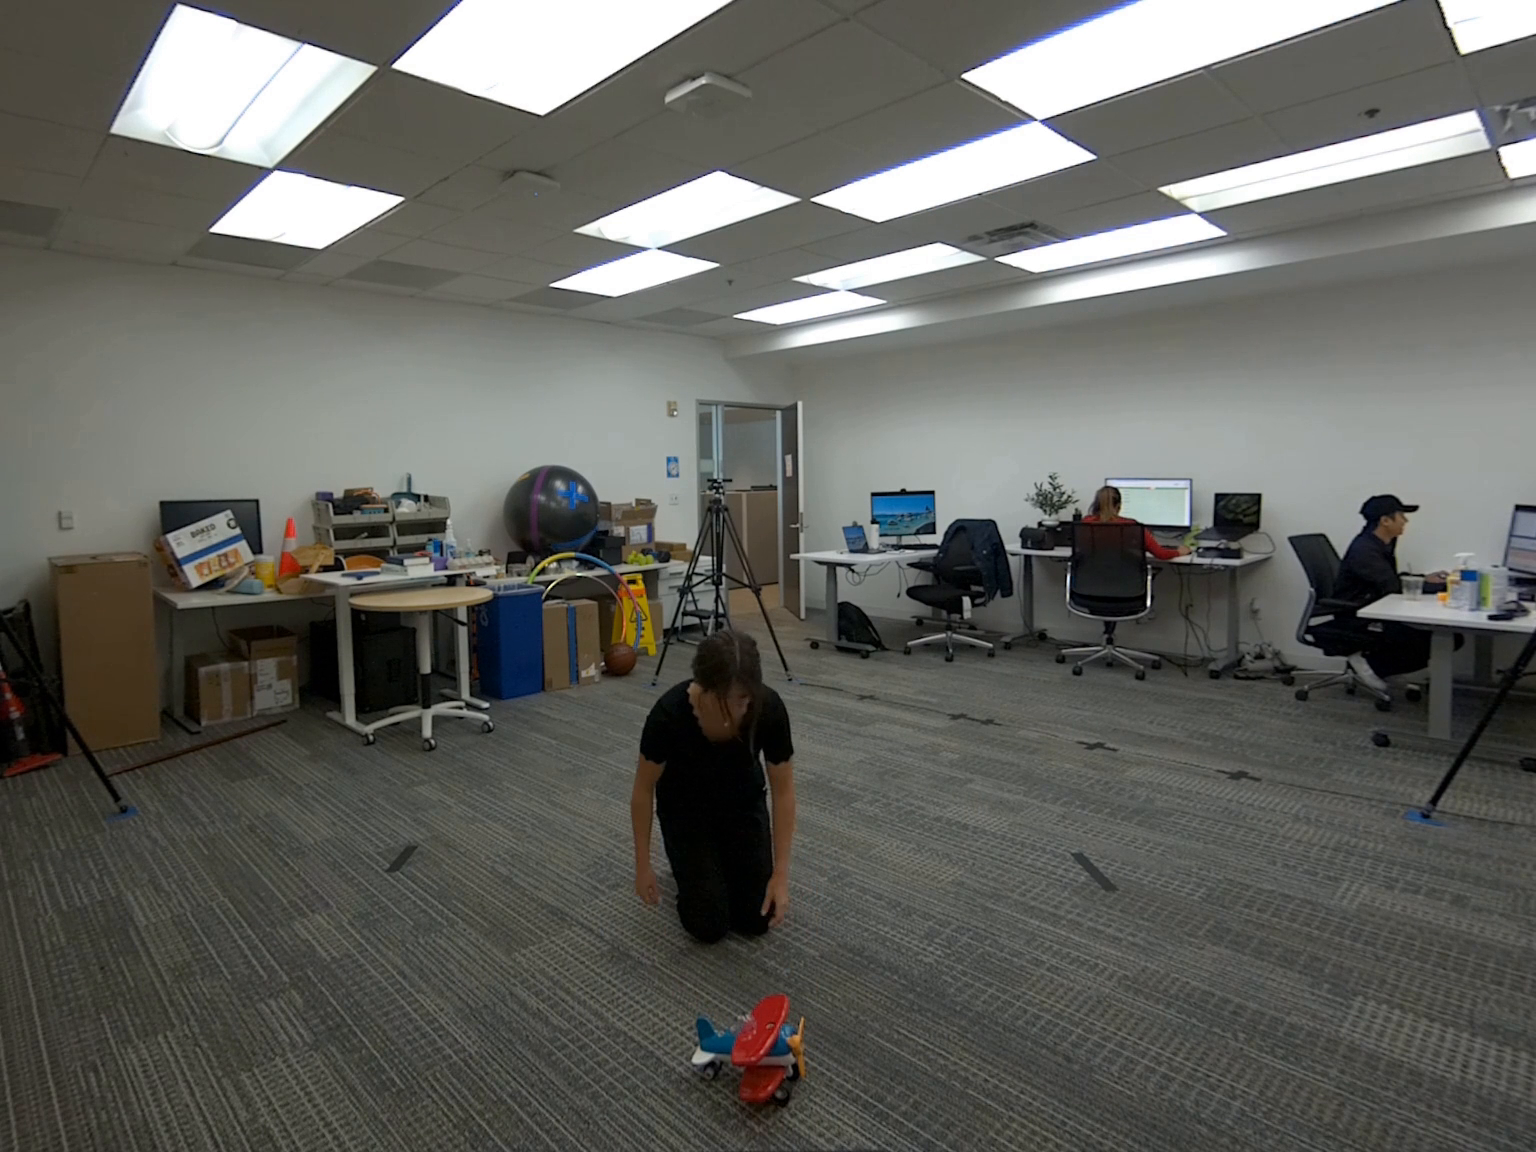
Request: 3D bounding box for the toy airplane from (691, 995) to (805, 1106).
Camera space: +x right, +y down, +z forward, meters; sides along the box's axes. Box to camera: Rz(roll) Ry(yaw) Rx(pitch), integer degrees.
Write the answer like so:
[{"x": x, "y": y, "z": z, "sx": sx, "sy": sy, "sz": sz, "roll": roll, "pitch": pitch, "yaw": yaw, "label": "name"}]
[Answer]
[{"x": -0.041, "y": 1.115, "z": 1.958, "sx": 0.257, "sy": 0.156, "sz": 0.254, "roll": -1, "pitch": 6, "yaw": -8, "label": "toy airplane"}]
